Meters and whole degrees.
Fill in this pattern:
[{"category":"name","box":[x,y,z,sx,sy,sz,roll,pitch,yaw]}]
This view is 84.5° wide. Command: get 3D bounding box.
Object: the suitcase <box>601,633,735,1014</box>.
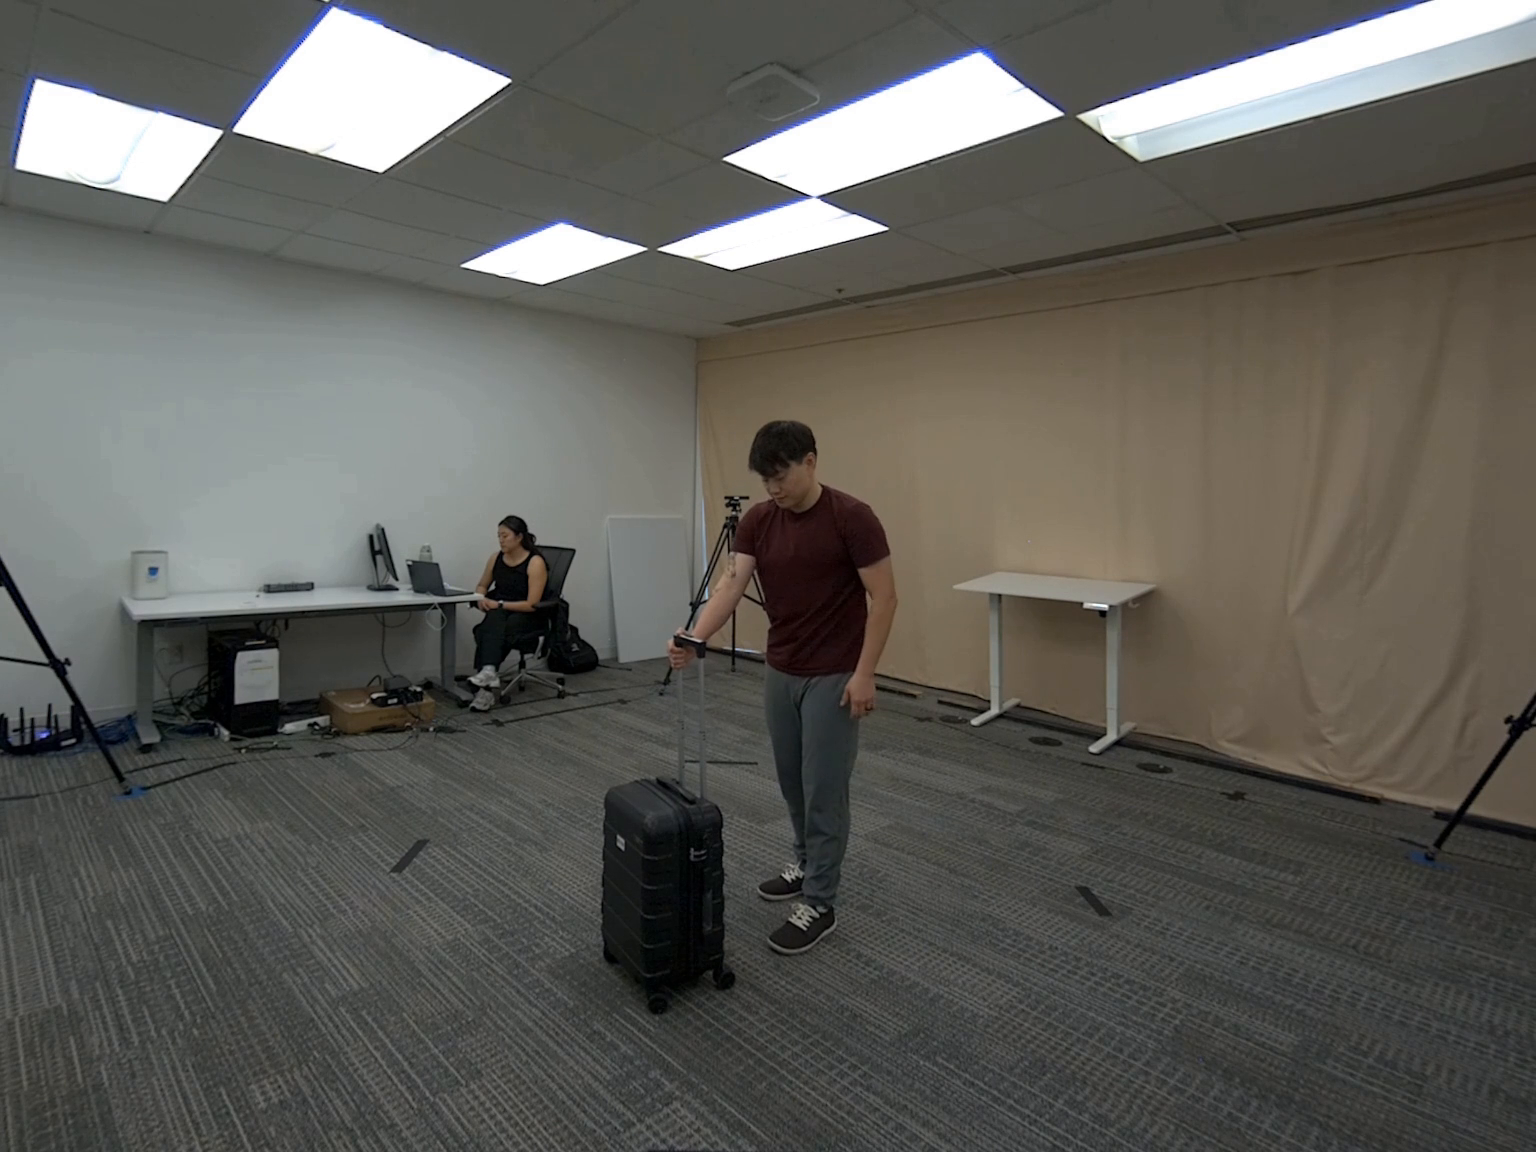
[{"category":"suitcase","box":[-0.315,0.690,2.419,0.252,0.975,0.392,-4,5,-30]}]
